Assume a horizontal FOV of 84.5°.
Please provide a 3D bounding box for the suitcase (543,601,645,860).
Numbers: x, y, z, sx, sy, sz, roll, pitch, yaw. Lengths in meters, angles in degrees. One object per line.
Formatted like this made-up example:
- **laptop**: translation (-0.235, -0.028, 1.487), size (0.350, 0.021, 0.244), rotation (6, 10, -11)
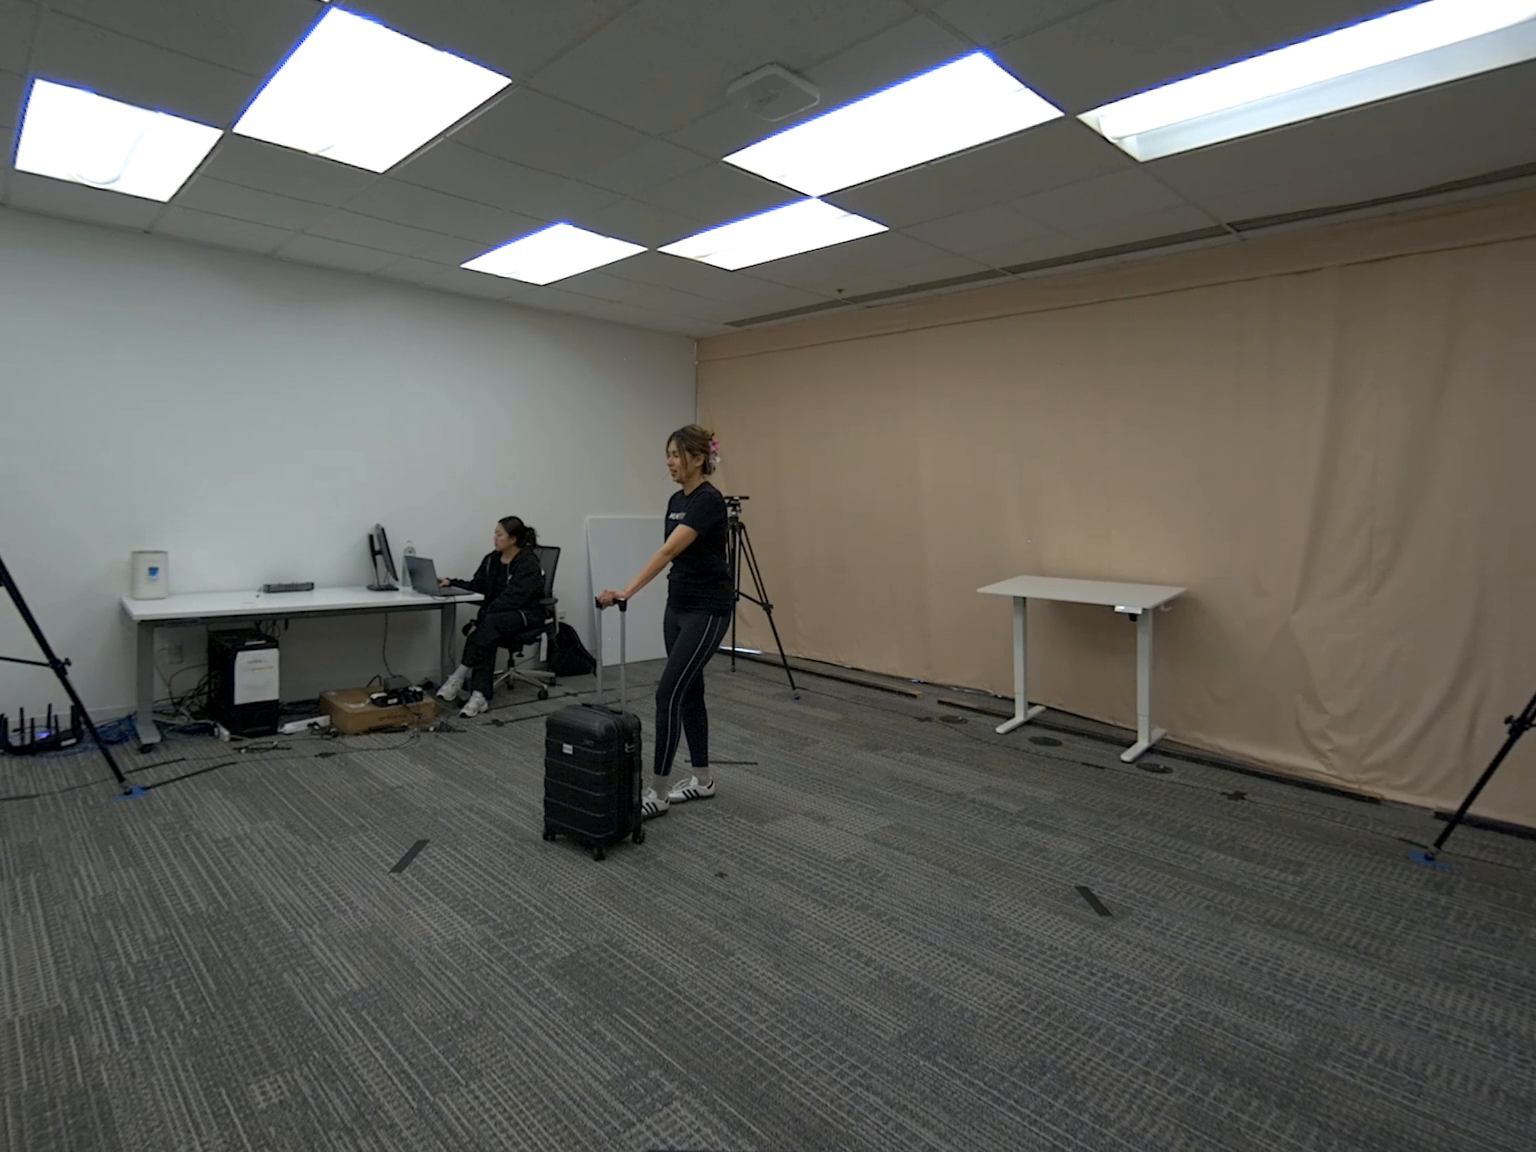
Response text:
- **suitcase**: translation (-0.710, 0.597, 3.318), size (0.393, 0.974, 0.252), rotation (5, 8, 37)
